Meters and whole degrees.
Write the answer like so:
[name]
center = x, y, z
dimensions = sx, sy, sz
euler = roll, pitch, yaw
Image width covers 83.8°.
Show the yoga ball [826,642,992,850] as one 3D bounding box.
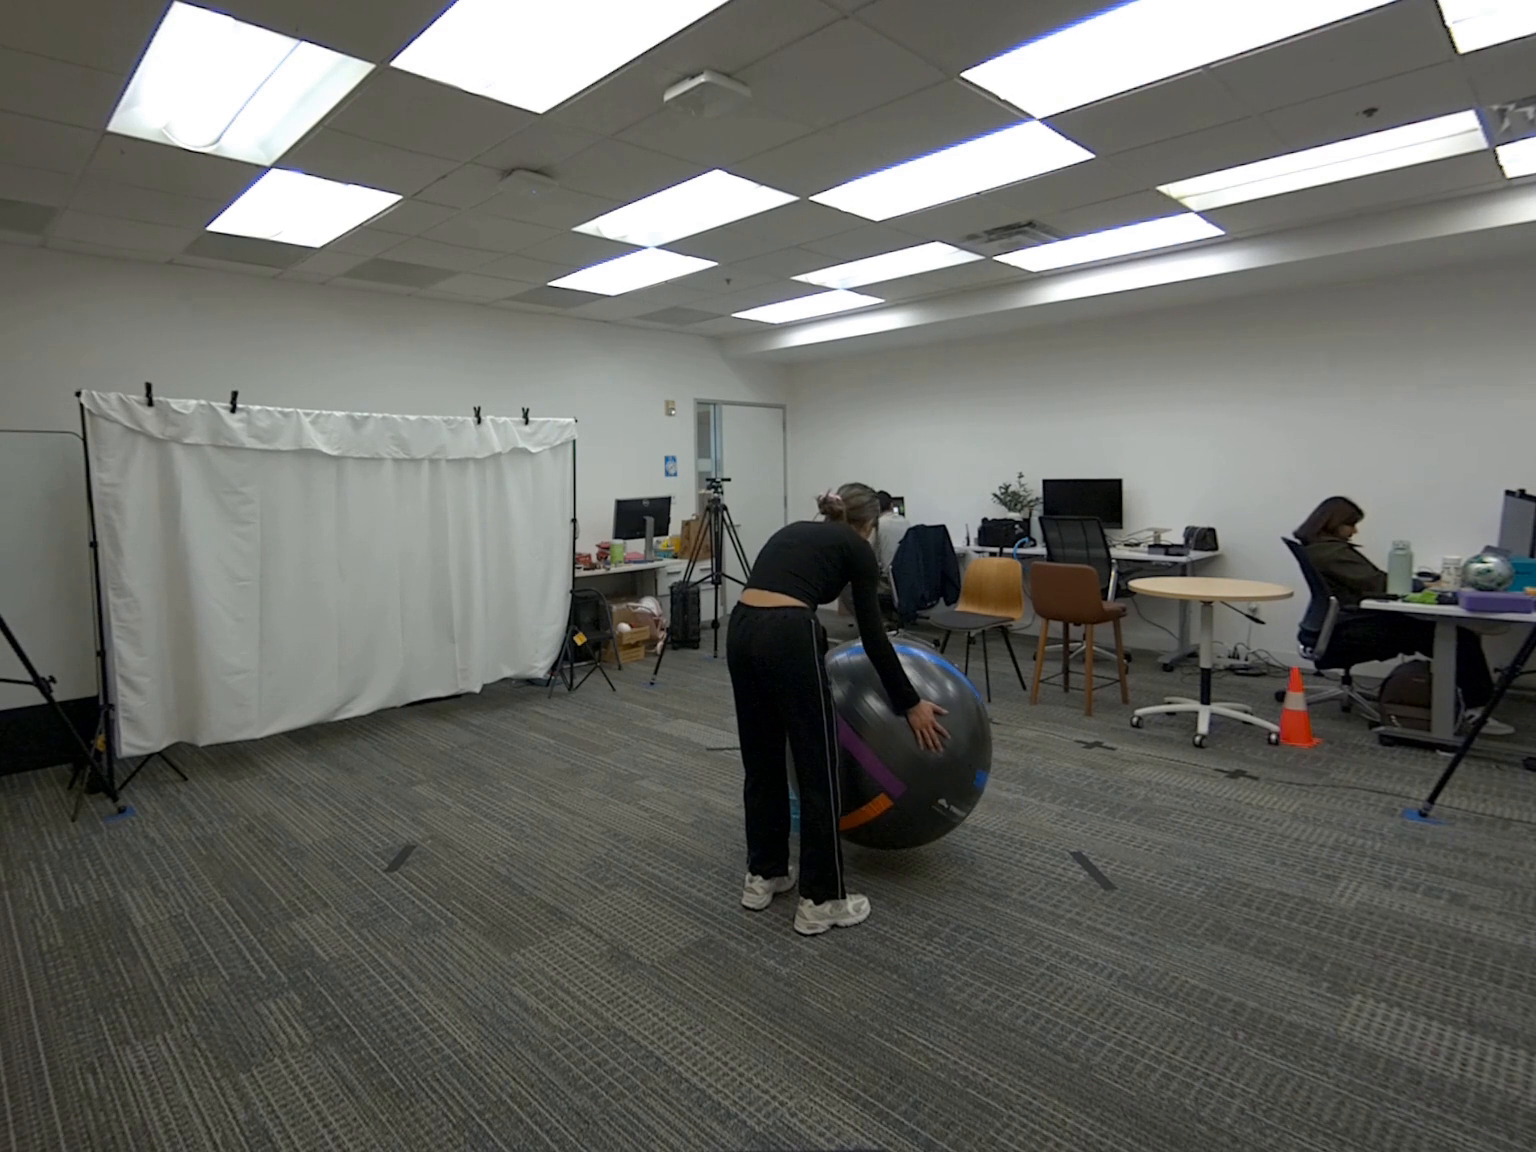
[yoga ball]
center = 0.438, 0.600, 3.135
dimensions = 0.757, 0.755, 0.762
euler = -1, 5, -2
